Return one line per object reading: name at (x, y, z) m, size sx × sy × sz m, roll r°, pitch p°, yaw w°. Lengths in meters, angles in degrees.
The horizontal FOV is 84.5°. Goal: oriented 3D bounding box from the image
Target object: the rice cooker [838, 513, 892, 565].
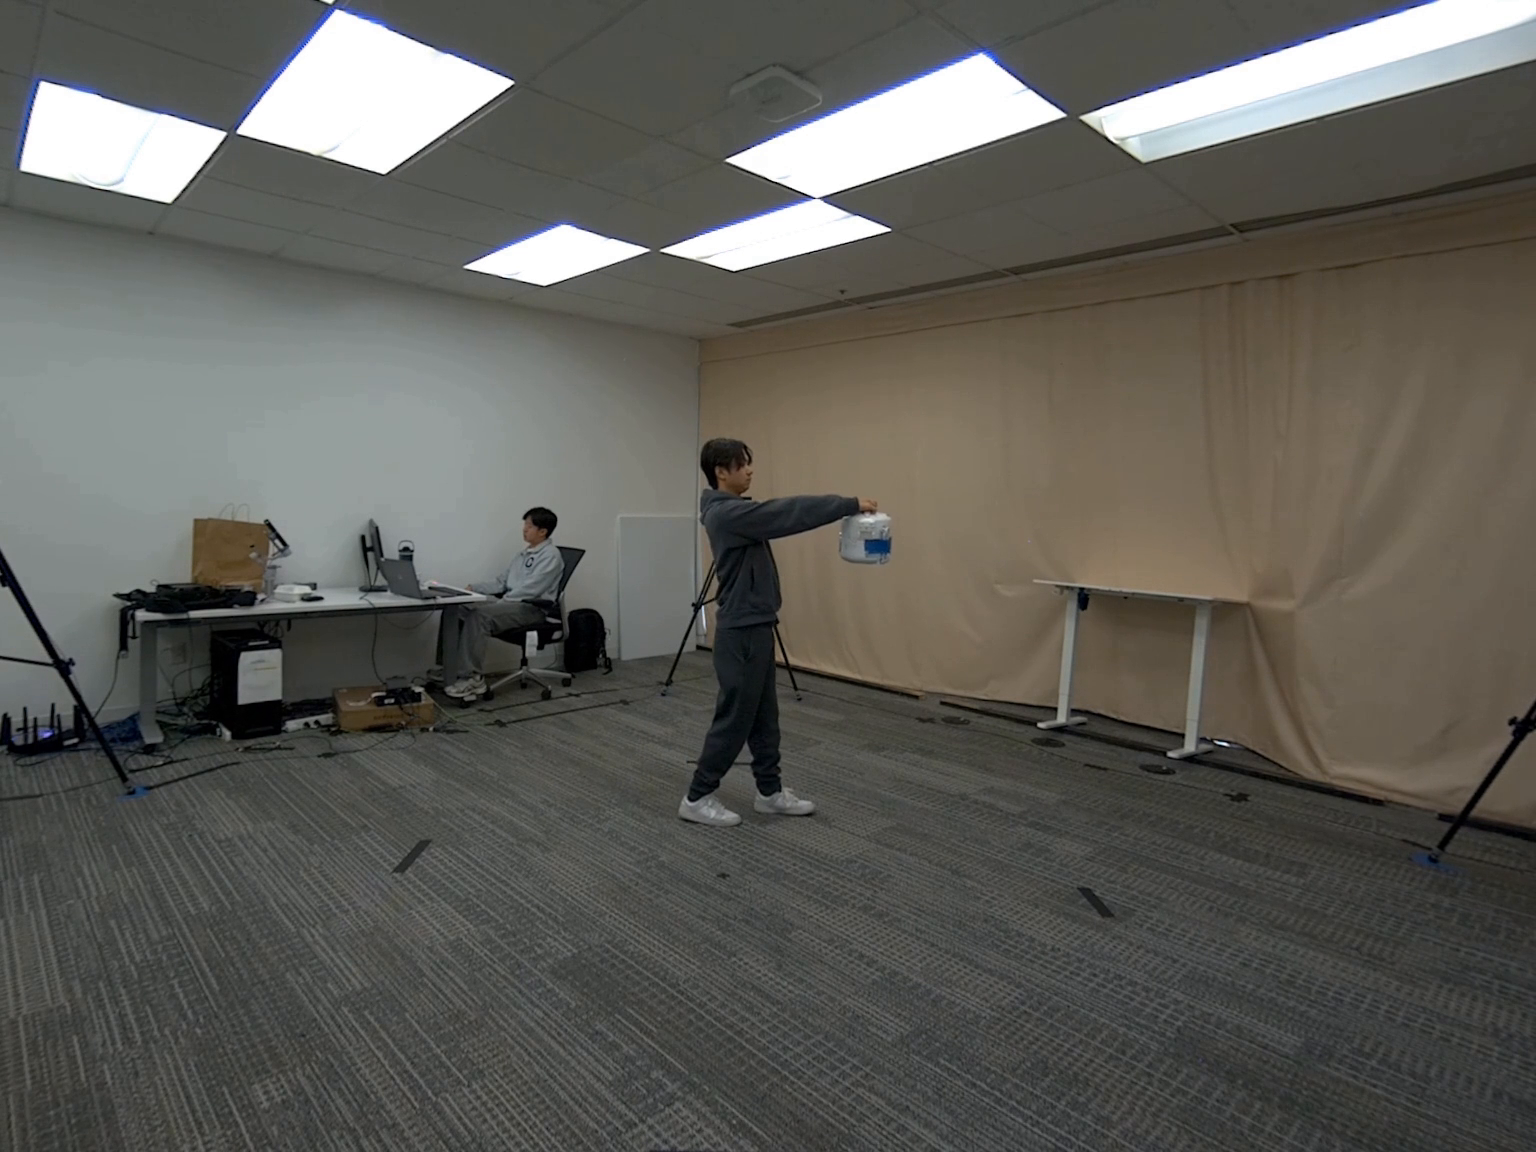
rice cooker at (0.400, -0.176, 3.555) m, size 0.219 × 0.231 × 0.220 m, roll 3°, pitch 7°, yaw 9°
